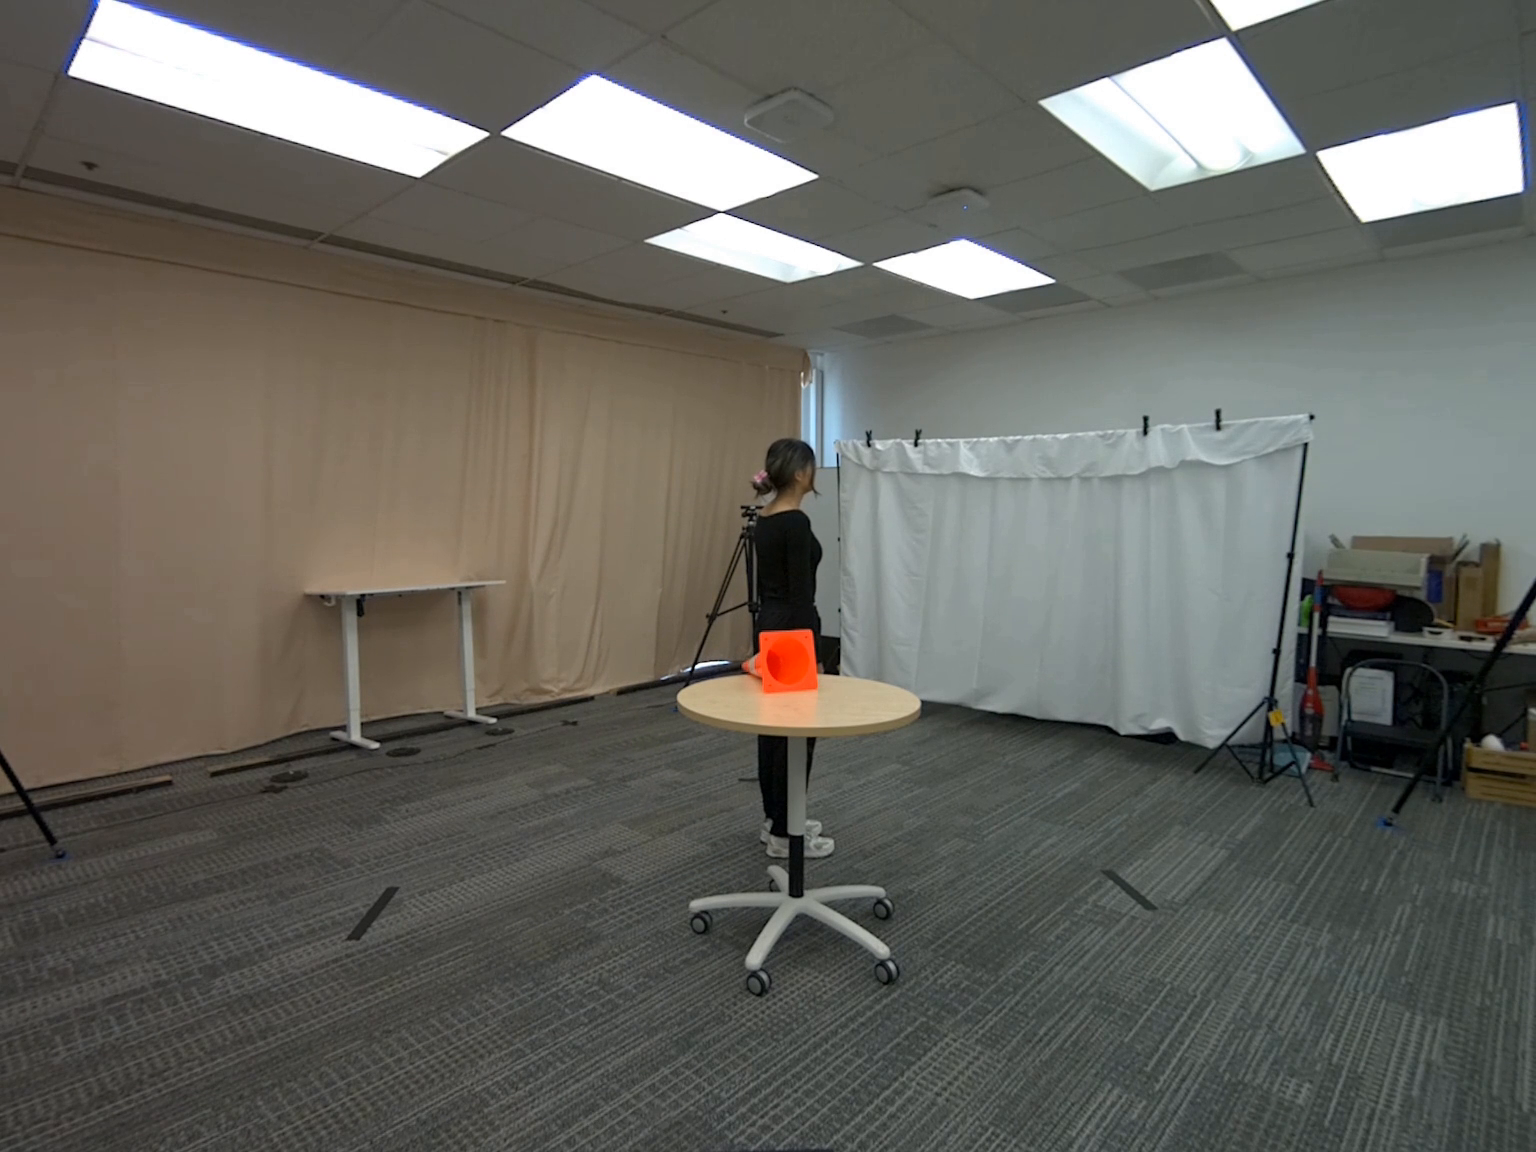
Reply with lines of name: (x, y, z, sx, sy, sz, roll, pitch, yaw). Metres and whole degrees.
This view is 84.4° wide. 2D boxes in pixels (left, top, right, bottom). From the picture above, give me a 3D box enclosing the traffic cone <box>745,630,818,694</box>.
traffic cone: (-0.010, 0.309, 2.946, 0.201, 0.204, 0.389, 3, -9, -21)
